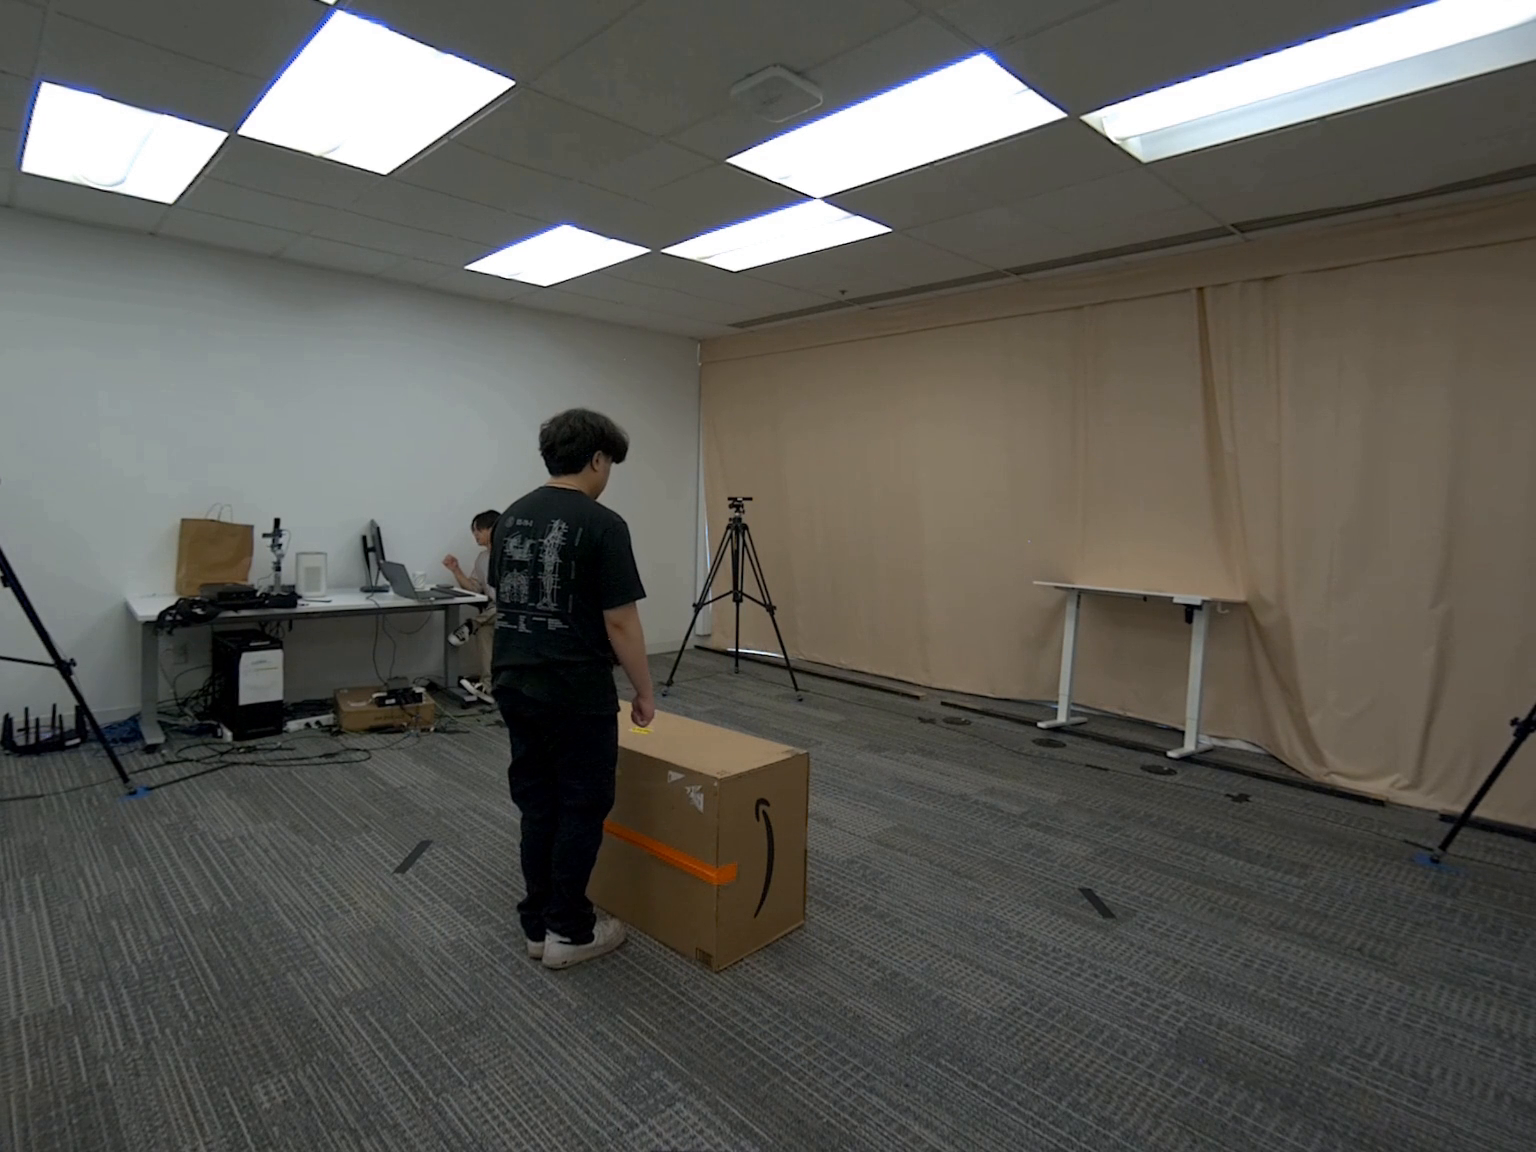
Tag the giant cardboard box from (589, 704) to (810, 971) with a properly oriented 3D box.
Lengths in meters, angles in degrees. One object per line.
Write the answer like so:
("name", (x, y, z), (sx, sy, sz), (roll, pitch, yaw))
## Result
("giant cardboard box", (-0.397, 0.832, 2.950), (1.053, 0.582, 0.437), (5, 6, 42))
